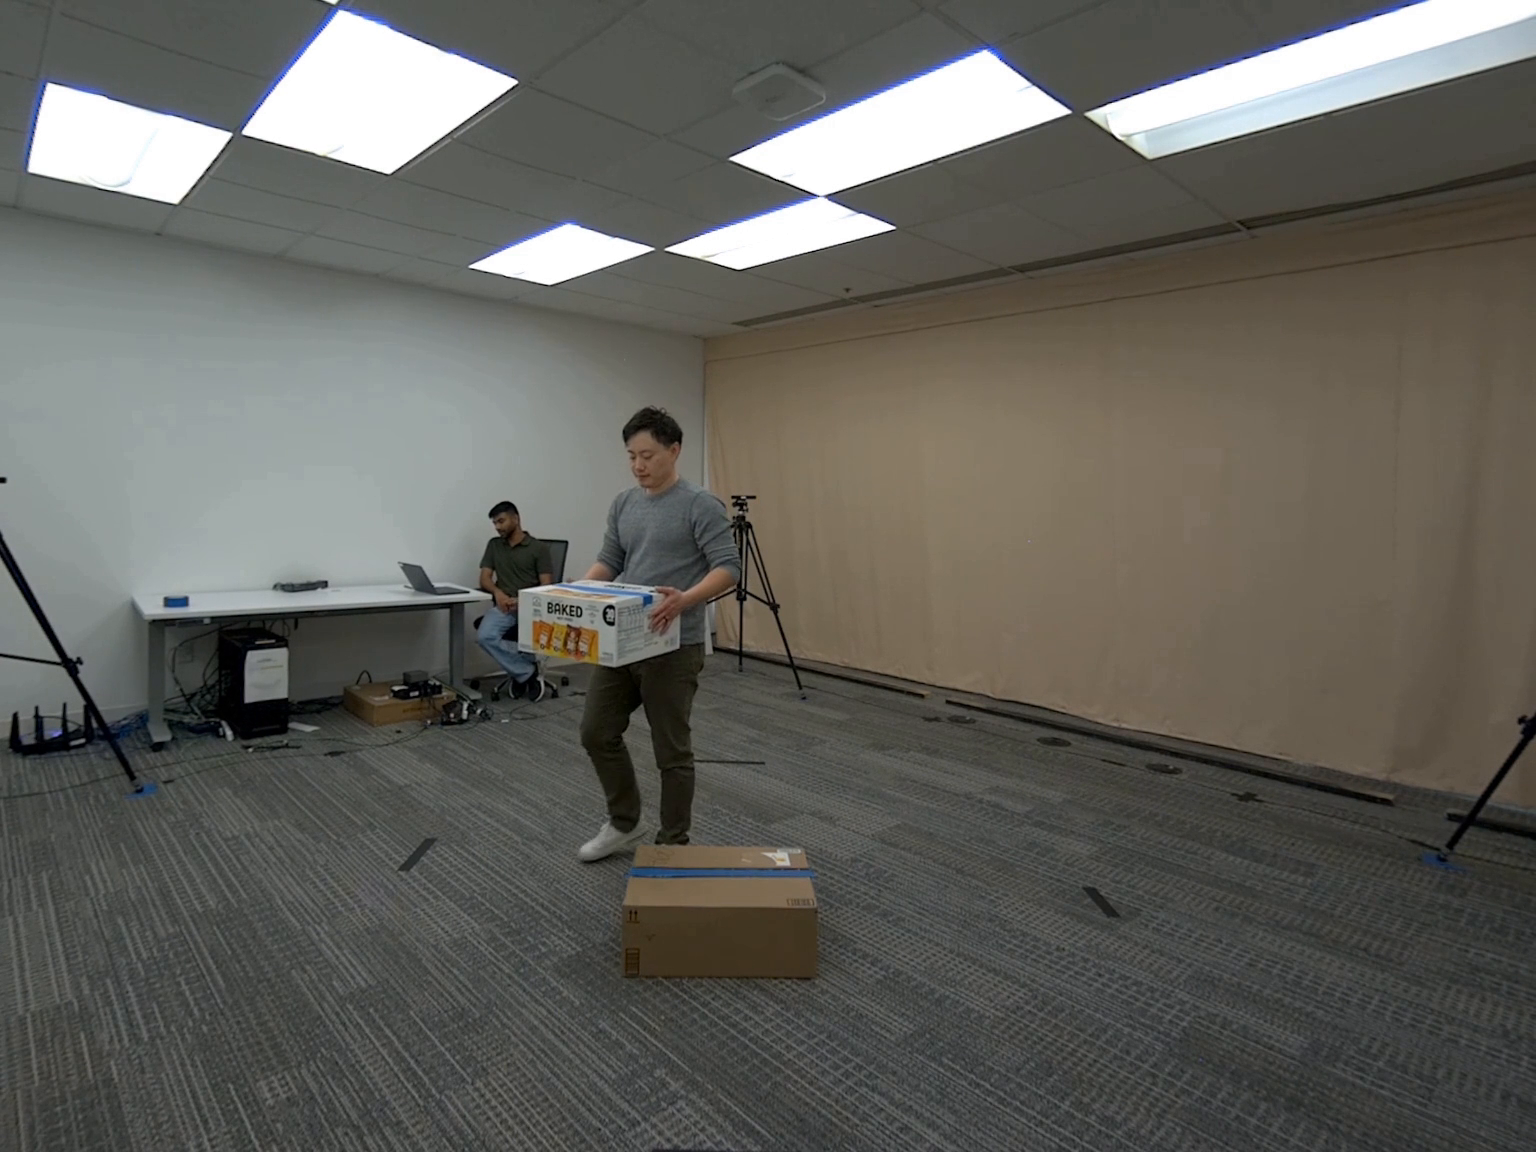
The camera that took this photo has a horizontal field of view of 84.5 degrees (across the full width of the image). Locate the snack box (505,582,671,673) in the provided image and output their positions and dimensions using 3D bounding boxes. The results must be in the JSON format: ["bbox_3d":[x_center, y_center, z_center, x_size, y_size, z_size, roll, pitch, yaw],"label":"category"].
[{"bbox_3d":[-0.585,0.157,2.763,0.414,0.205,0.334,4,9,30],"label":"snack box"}]
